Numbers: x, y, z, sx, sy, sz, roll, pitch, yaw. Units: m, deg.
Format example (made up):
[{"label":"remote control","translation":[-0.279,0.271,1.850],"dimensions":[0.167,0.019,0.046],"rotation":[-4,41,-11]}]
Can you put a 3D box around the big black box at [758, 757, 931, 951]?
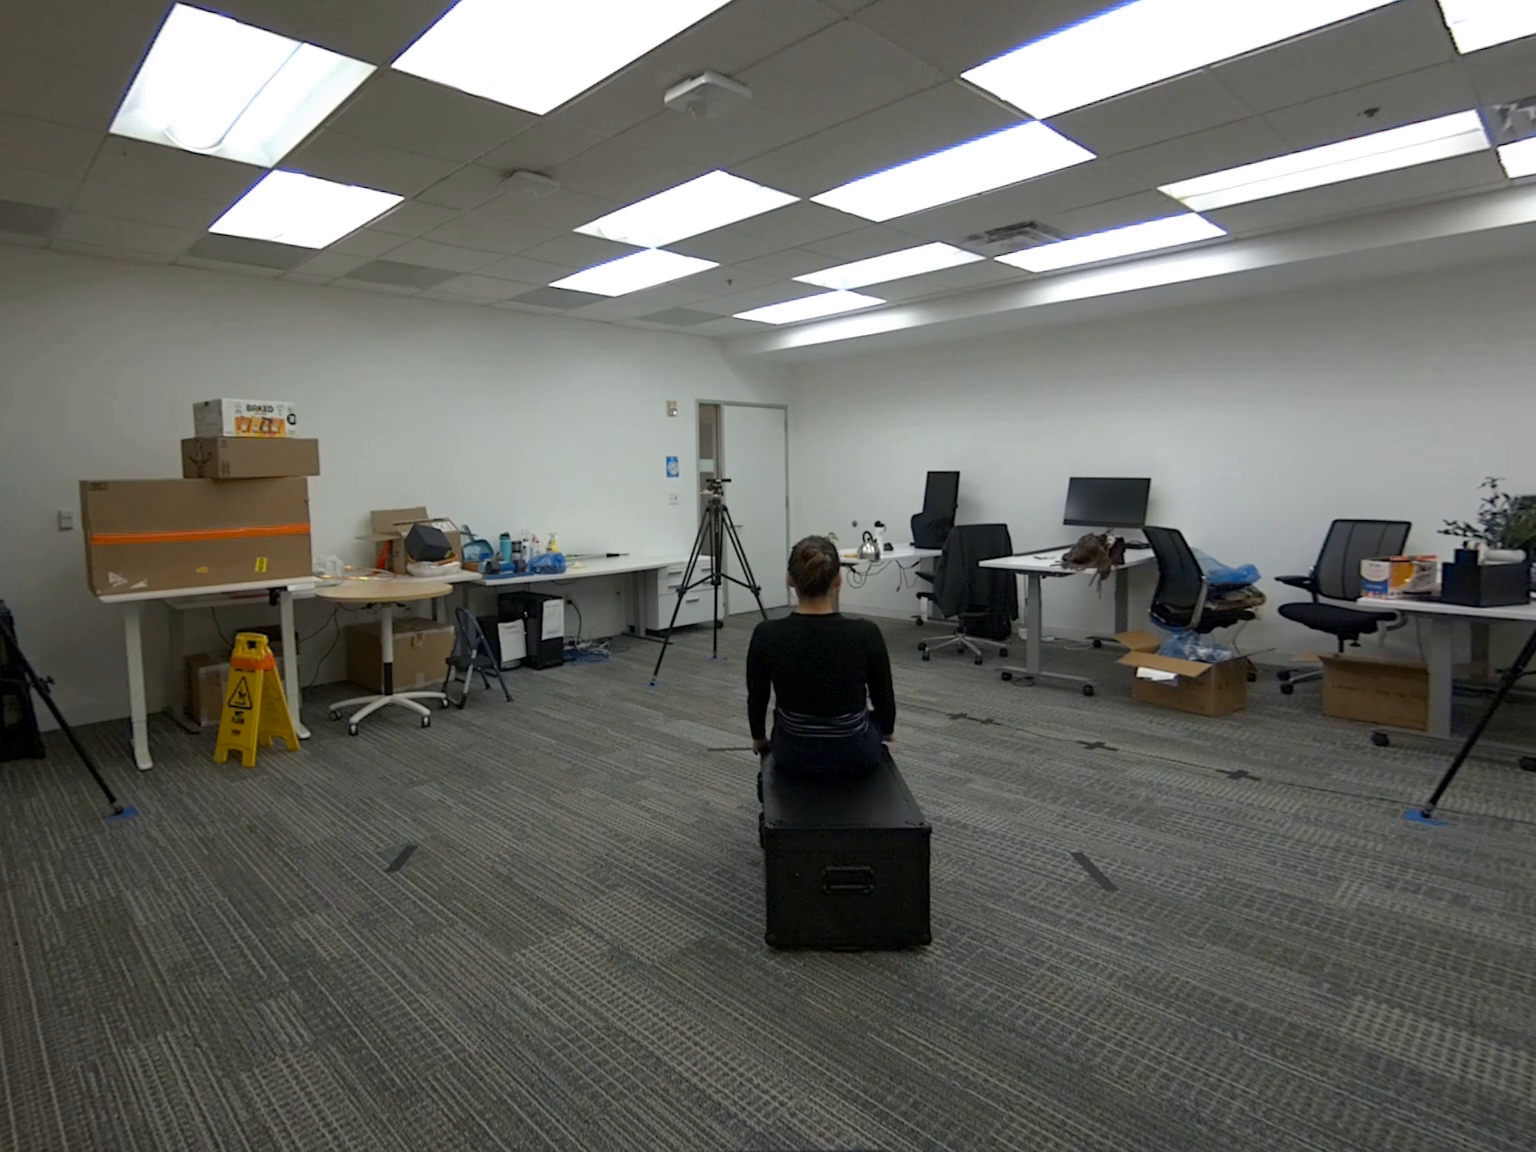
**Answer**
[{"label":"big black box","translation":[0.228,0.873,2.909],"dimensions":[0.521,0.394,0.865],"rotation":[-1,6,-1]}]
